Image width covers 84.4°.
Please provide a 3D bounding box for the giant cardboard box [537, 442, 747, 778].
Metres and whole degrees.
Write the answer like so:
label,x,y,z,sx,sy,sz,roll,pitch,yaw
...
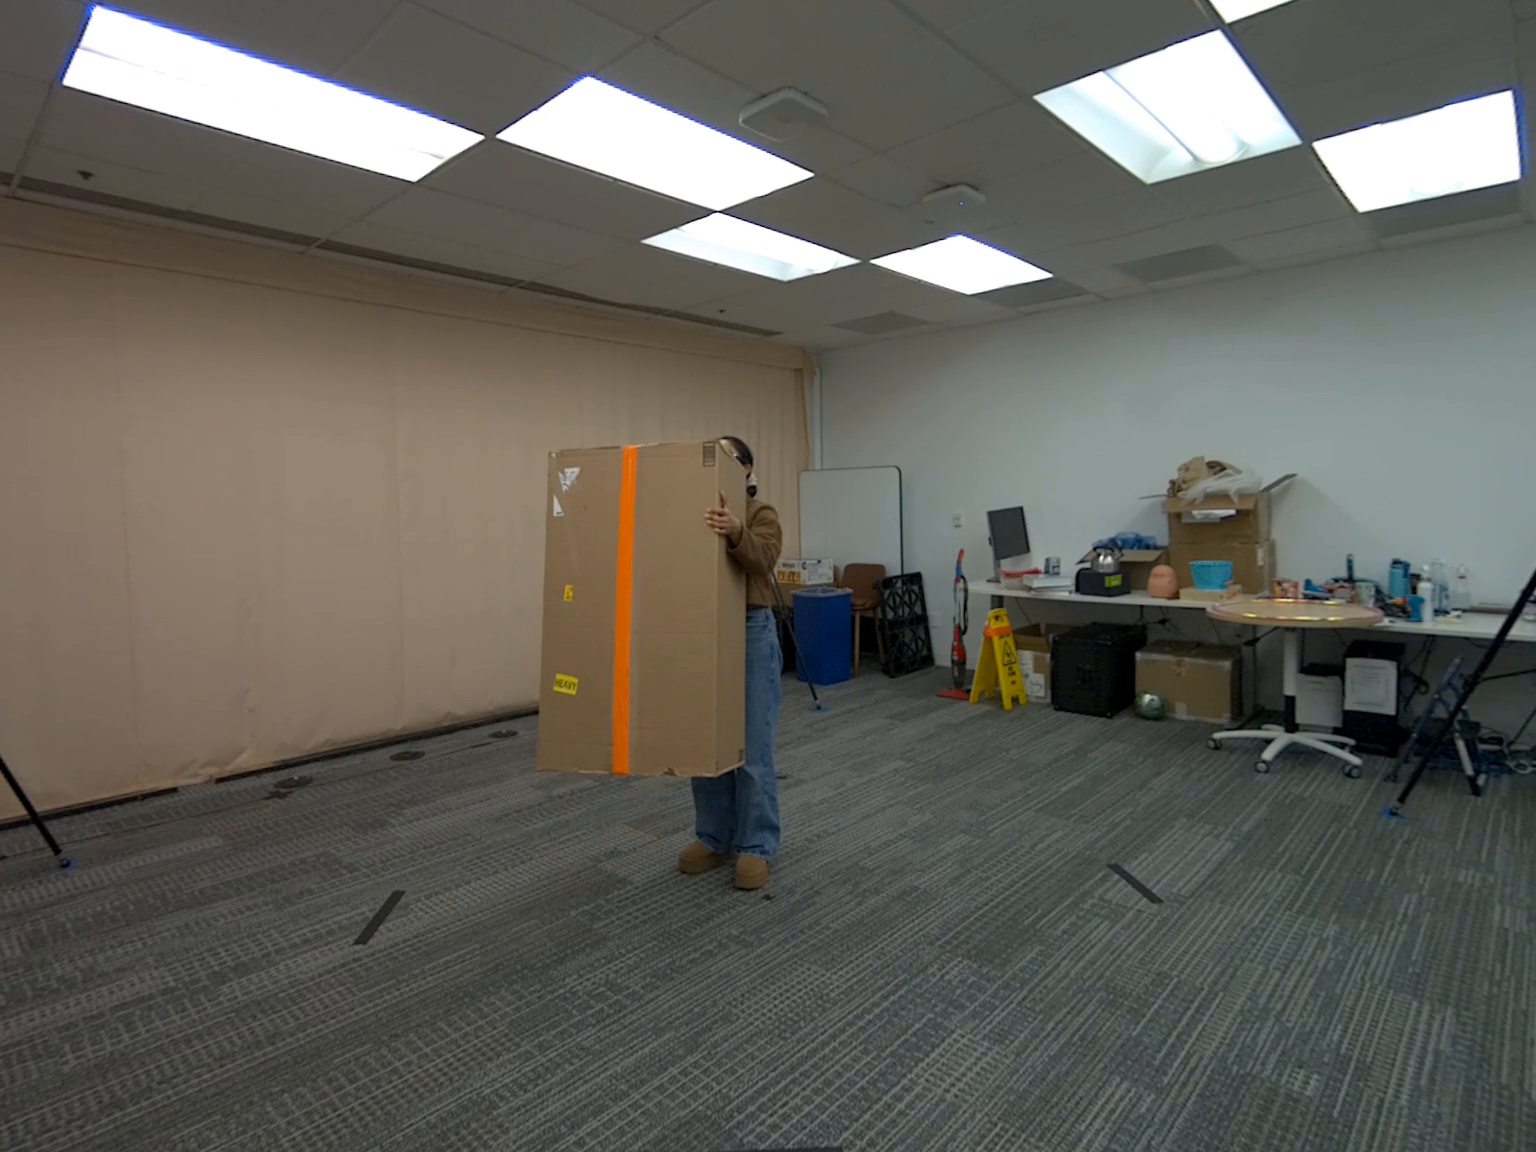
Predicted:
label,x,y,z,sx,sy,sz,roll,pitch,yaw
giant cardboard box,-0.388,0.116,2.809,0.585,1.031,0.418,-2,-8,12
